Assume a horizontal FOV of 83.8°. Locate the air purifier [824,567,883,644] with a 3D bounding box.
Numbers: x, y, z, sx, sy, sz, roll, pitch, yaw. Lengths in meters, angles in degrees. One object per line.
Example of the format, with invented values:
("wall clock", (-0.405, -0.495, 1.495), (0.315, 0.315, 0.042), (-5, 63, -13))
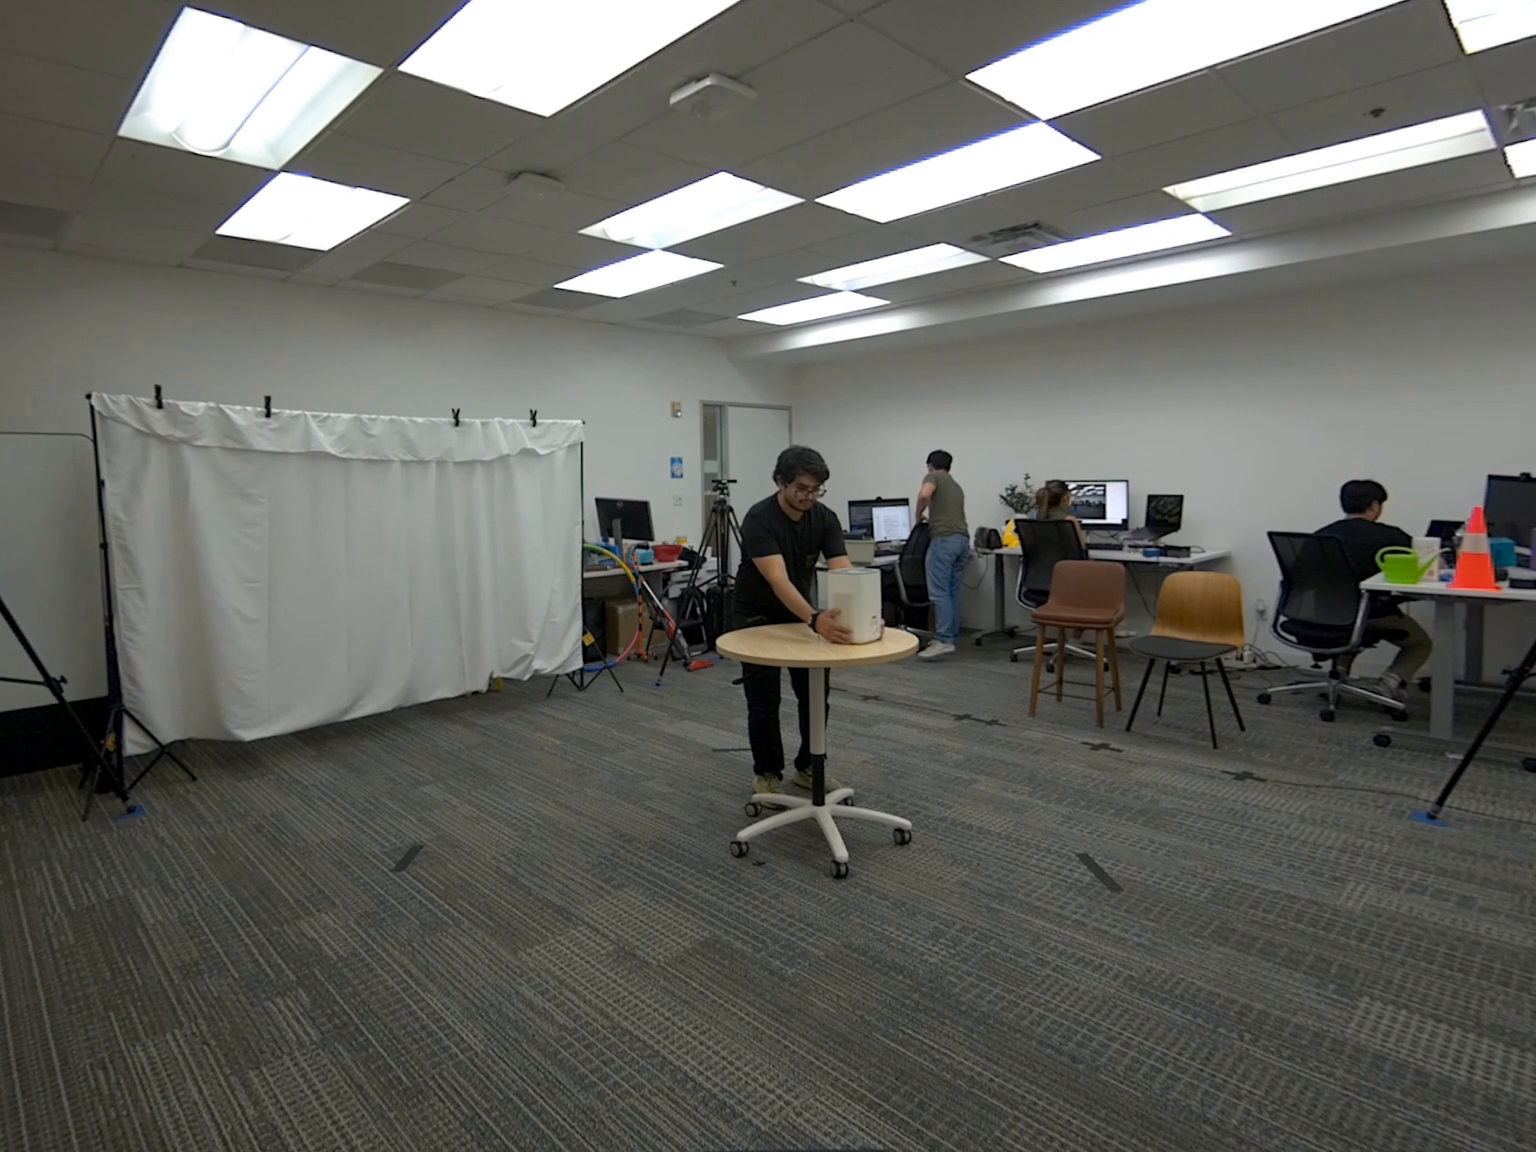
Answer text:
("air purifier", (0.327, 0.112, 3.211), (0.177, 0.264, 0.167), (3, 5, 37))
